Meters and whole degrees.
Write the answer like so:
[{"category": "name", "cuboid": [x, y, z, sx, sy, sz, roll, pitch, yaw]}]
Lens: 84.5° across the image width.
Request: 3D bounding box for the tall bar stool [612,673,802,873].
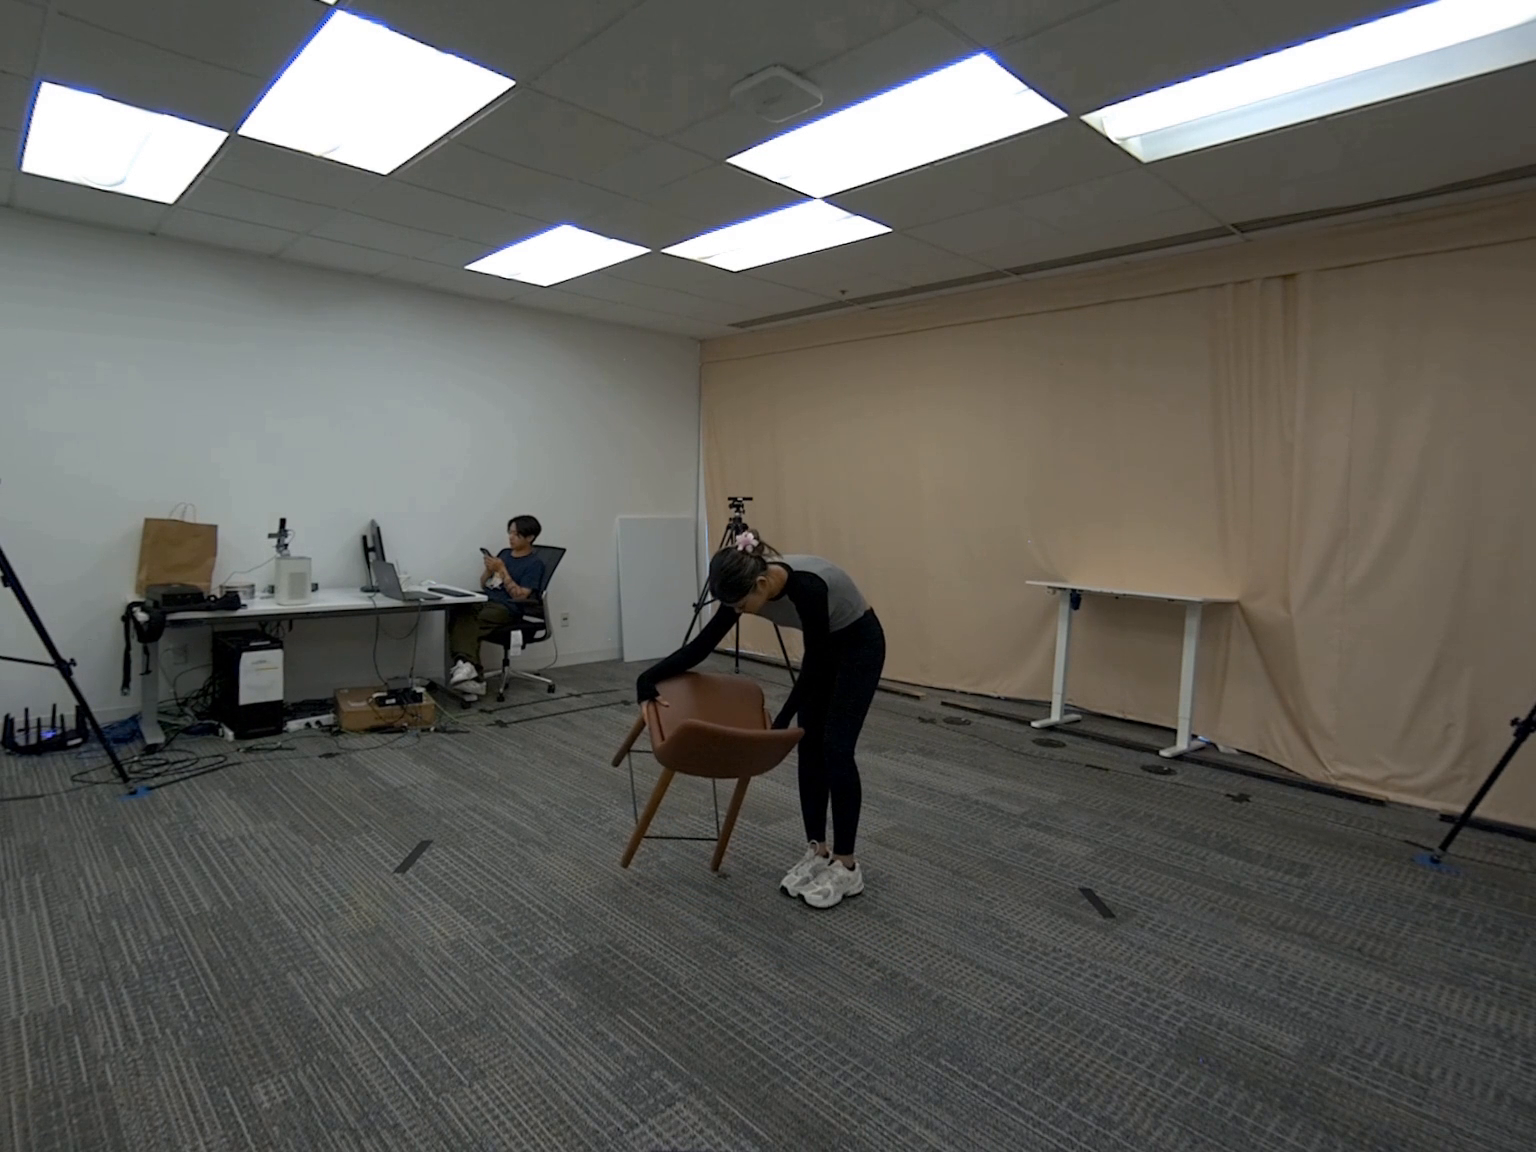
[{"category": "tall bar stool", "cuboid": [-0.260, 0.630, 2.992, 0.449, 0.881, 0.480, 9, 42, -20]}]
